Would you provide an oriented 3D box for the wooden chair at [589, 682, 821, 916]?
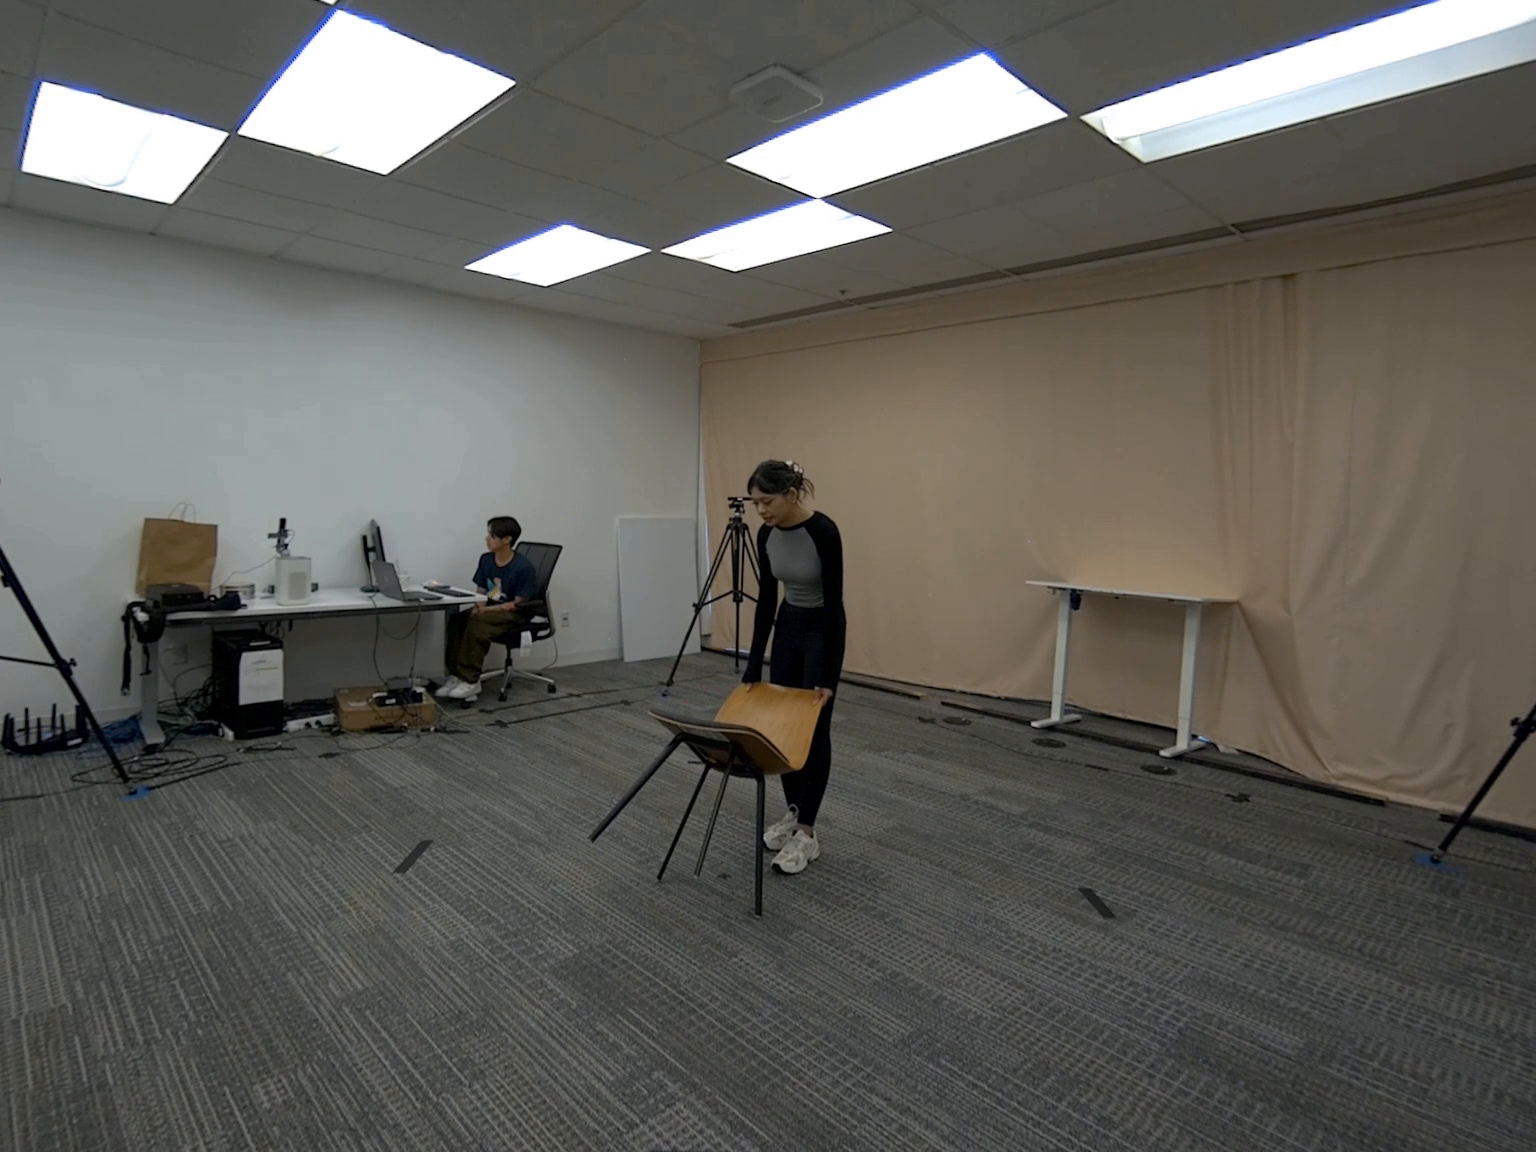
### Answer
[{"bbox_3d":[-0.171,0.641,2.948,0.489,0.884,0.507,3,-36,34],"label":"wooden chair"}]
